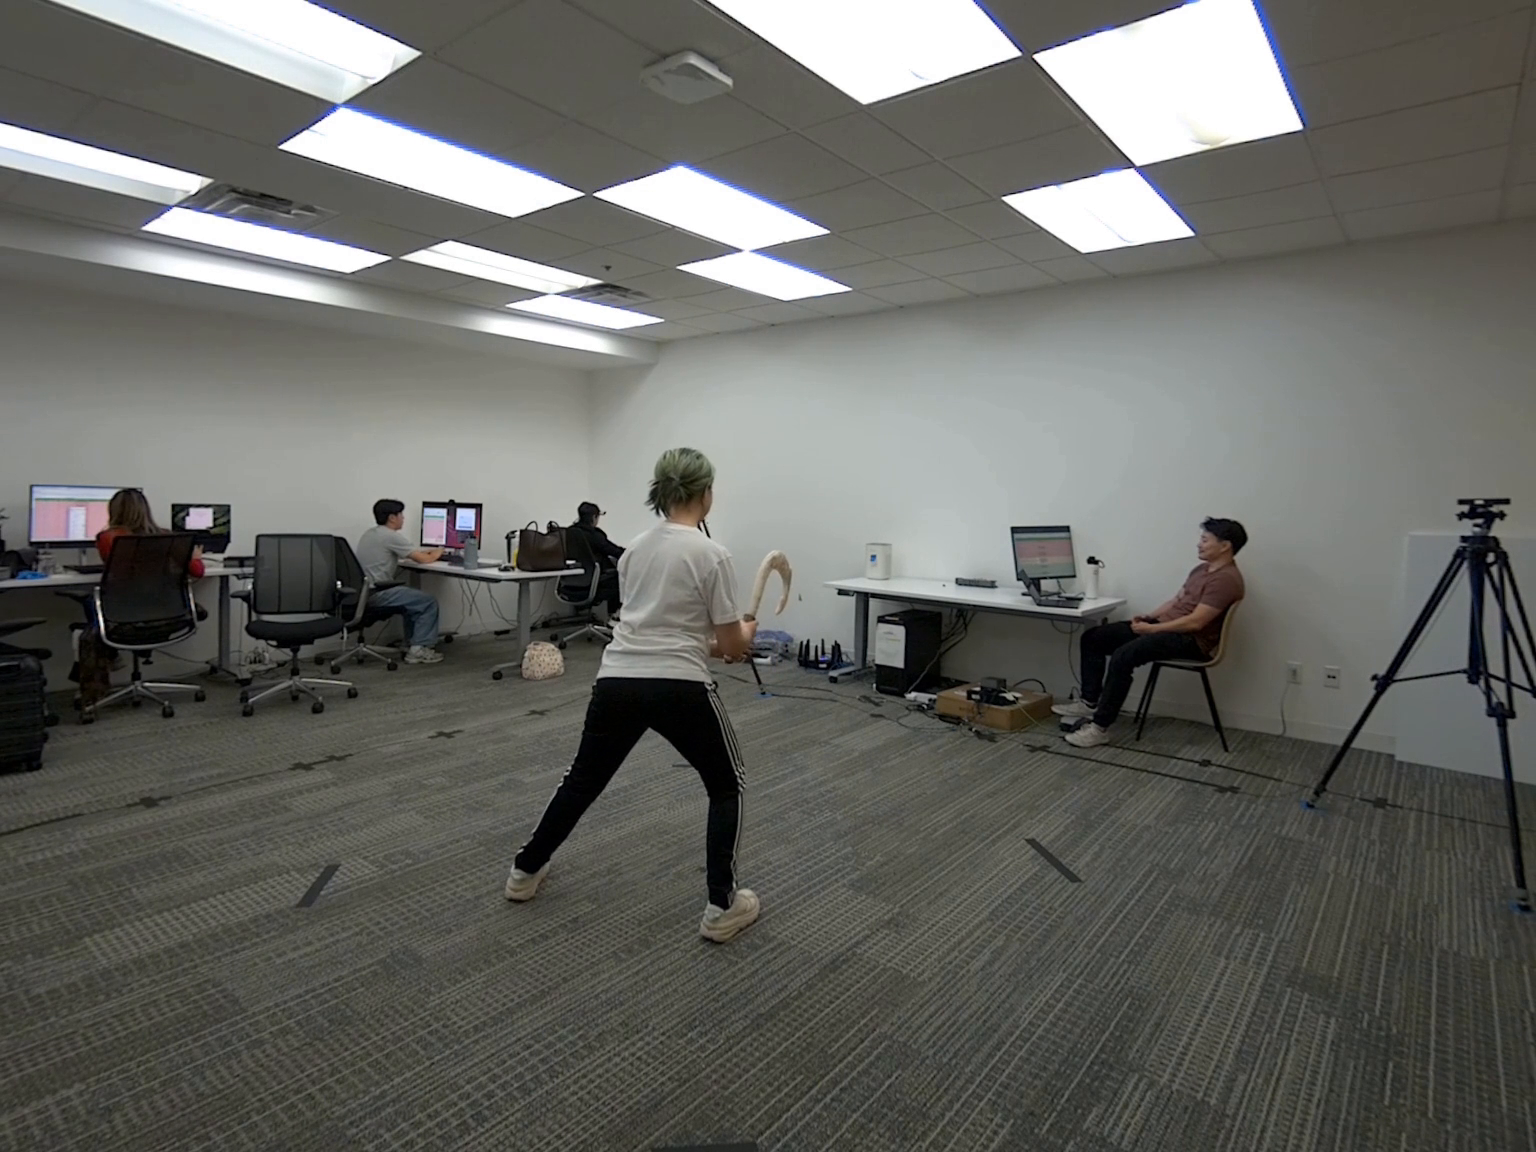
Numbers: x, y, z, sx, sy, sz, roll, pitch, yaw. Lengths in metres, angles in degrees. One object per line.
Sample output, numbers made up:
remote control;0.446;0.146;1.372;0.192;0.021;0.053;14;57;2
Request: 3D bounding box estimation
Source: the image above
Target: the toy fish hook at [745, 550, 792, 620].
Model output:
toy fish hook;-0.039;0.135;3.092;0.050;0.511;0.216;-2;-41;37
